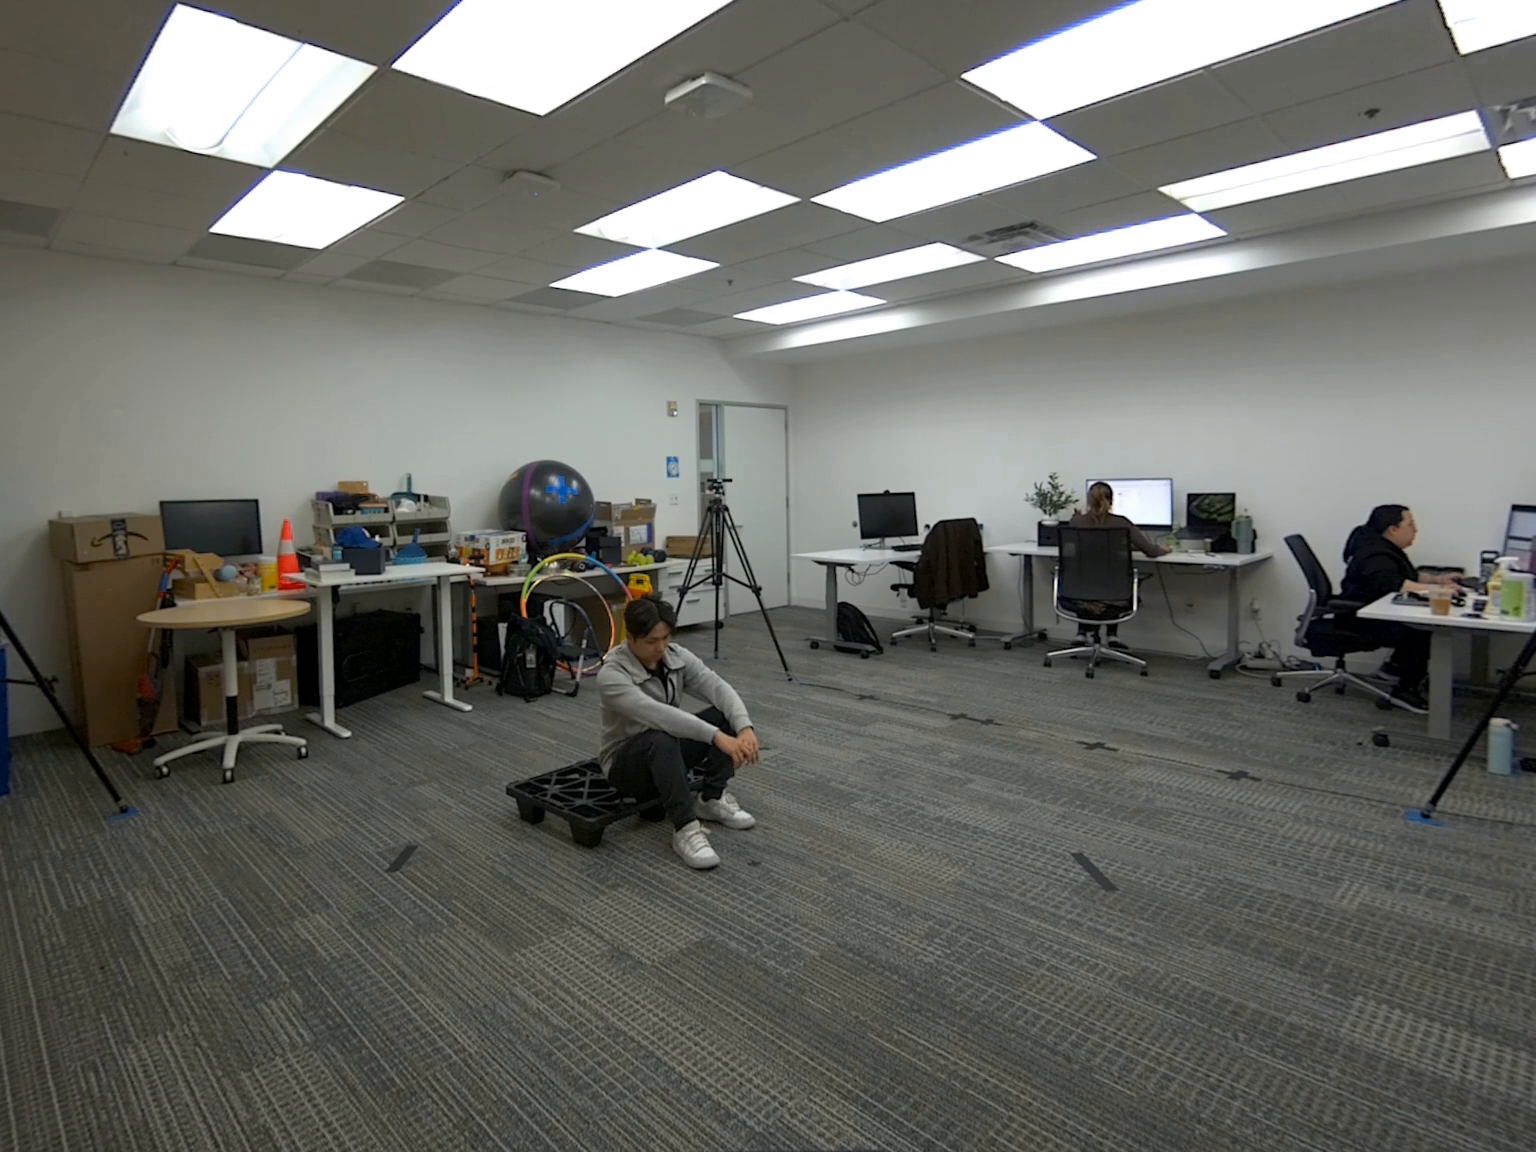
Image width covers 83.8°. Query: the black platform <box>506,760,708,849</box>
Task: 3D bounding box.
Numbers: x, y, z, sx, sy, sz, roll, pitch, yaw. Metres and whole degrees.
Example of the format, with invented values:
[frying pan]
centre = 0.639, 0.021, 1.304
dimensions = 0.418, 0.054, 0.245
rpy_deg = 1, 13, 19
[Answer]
[black platform]
centre = -0.615, 0.925, 3.671
dimensions = 0.624, 0.143, 0.785
rpy_deg = 5, 8, 41
